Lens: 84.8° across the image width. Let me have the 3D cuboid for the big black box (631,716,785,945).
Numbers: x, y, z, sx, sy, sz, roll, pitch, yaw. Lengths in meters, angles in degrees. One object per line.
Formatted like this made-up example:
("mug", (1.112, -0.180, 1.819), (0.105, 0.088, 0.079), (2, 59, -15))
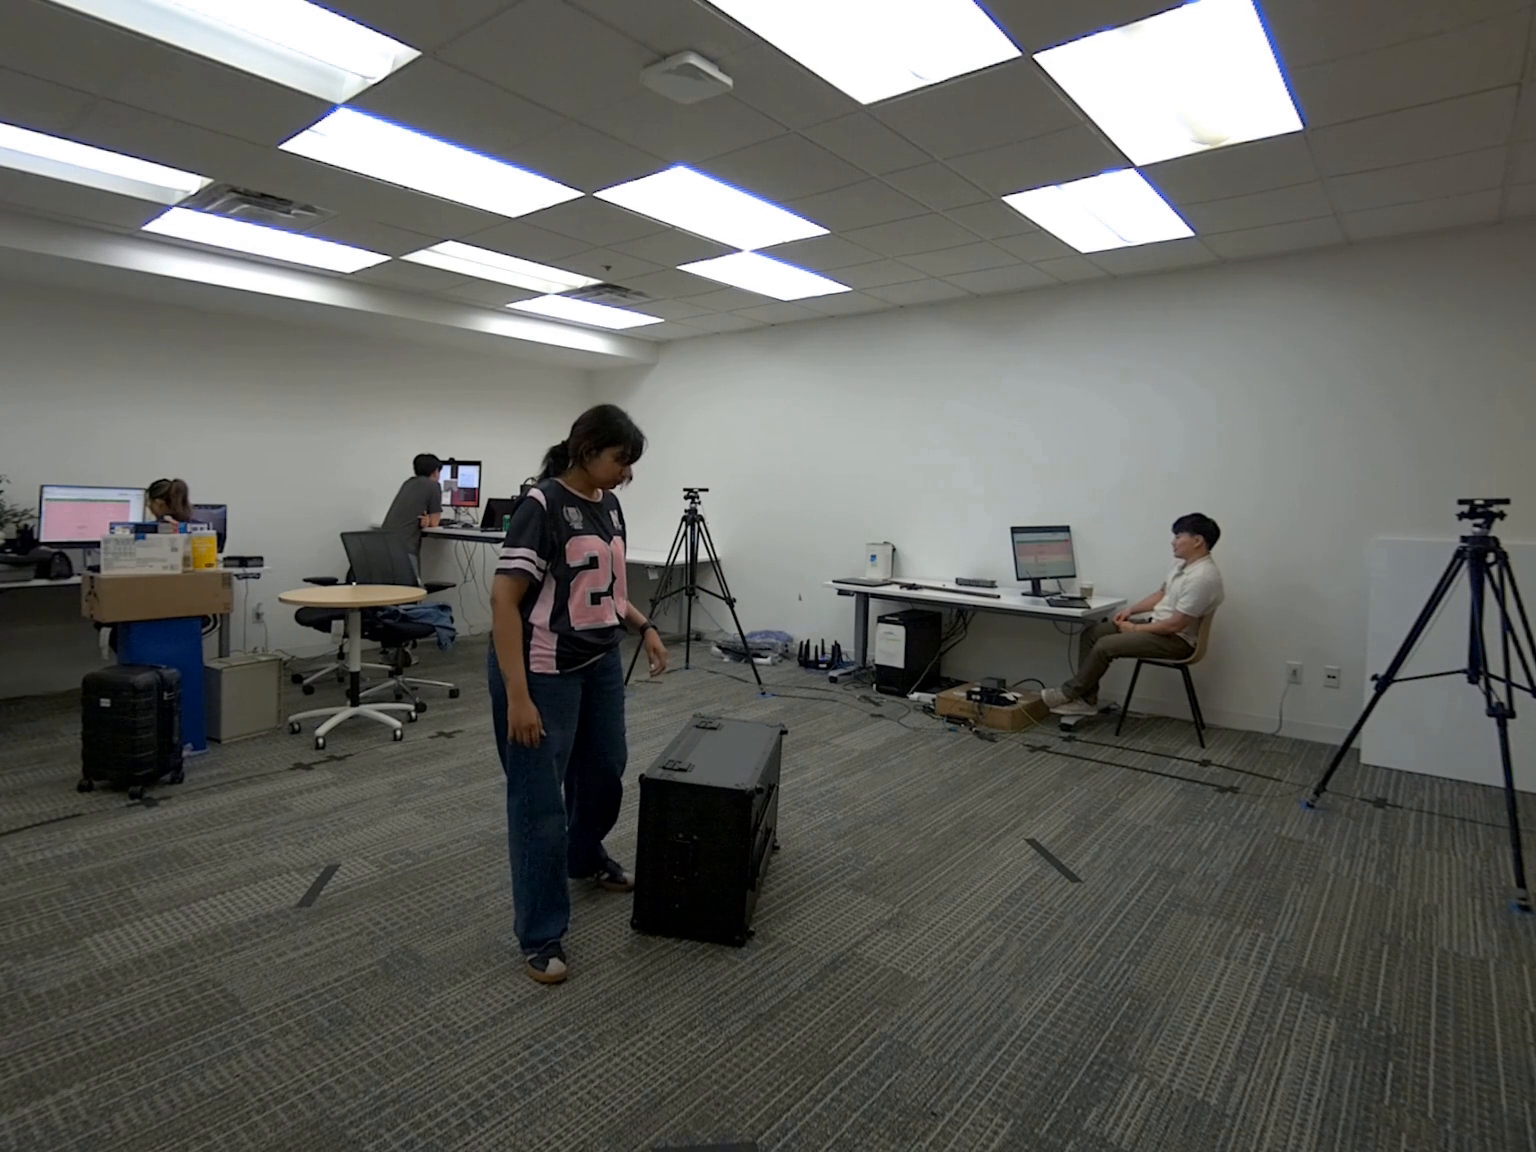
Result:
("big black box", (-0.179, 0.823, 3.007), (0.389, 0.521, 0.862), (2, 5, 8))
